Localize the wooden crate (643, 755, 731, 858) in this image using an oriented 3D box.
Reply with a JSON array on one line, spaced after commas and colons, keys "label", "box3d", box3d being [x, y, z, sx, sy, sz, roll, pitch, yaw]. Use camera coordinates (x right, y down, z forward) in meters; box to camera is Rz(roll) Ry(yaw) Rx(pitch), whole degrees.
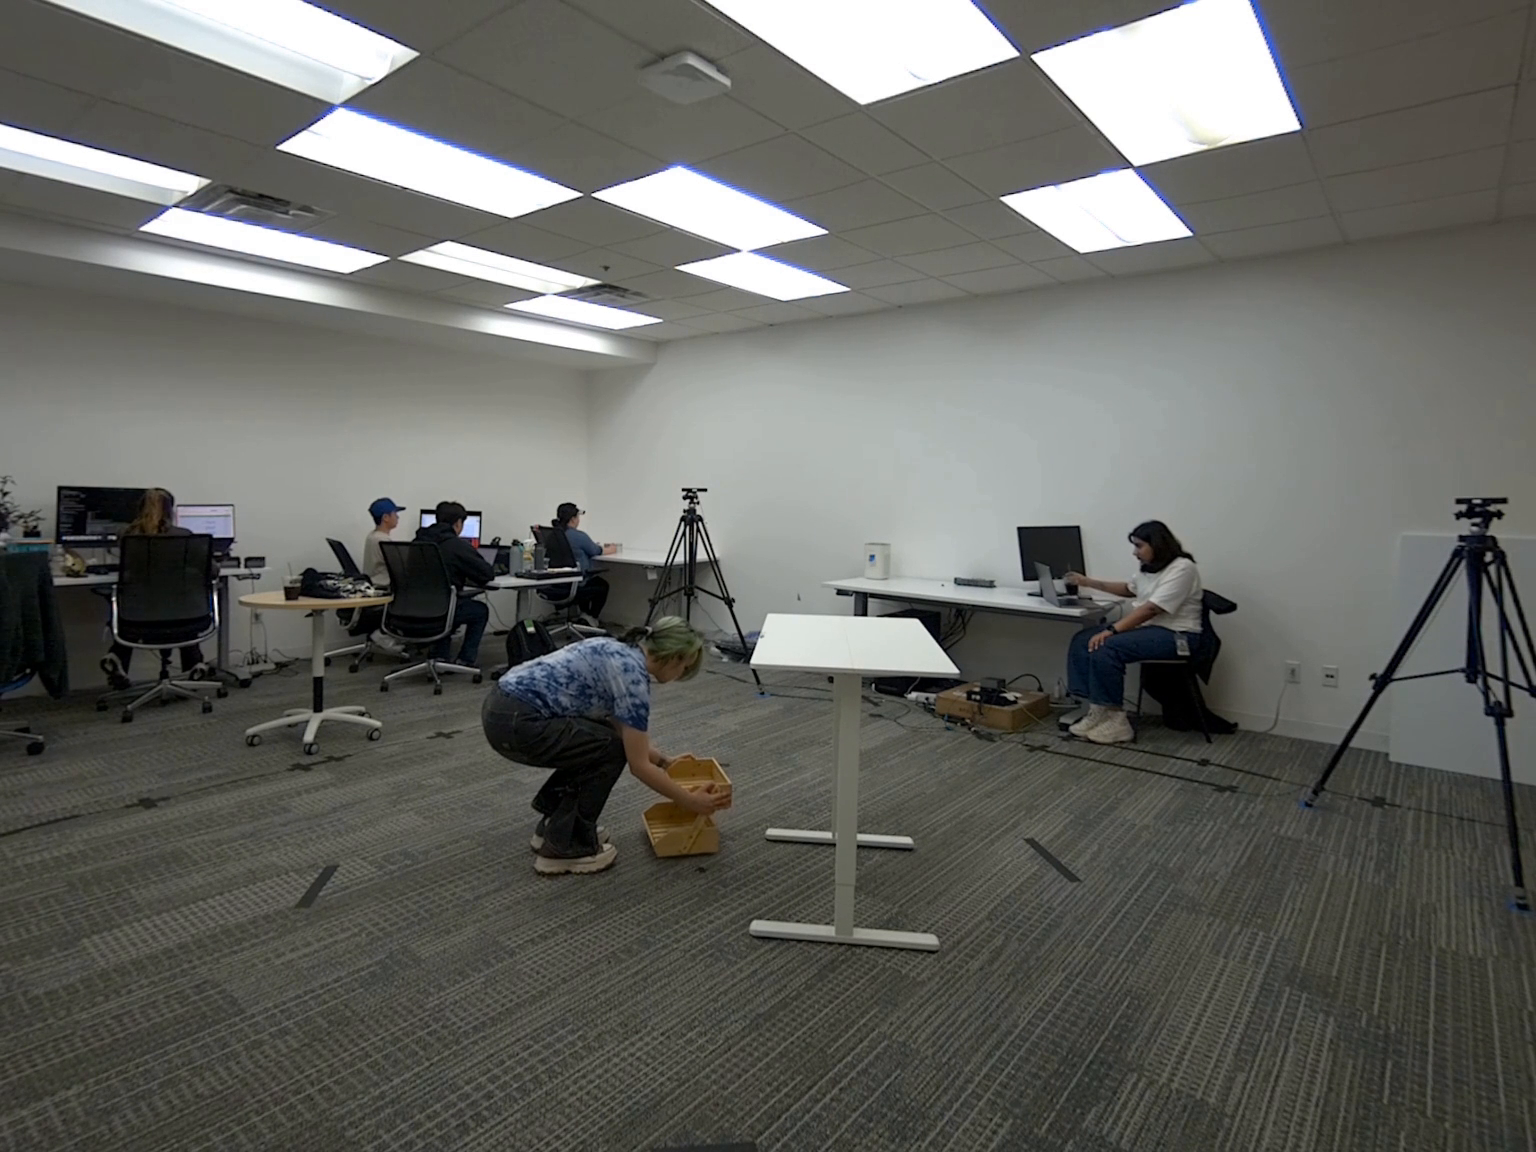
[{"label": "wooden crate", "box3d": [-0.338, 0.894, 3.335, 0.297, 0.272, 0.331, -1, 6, -16]}]
